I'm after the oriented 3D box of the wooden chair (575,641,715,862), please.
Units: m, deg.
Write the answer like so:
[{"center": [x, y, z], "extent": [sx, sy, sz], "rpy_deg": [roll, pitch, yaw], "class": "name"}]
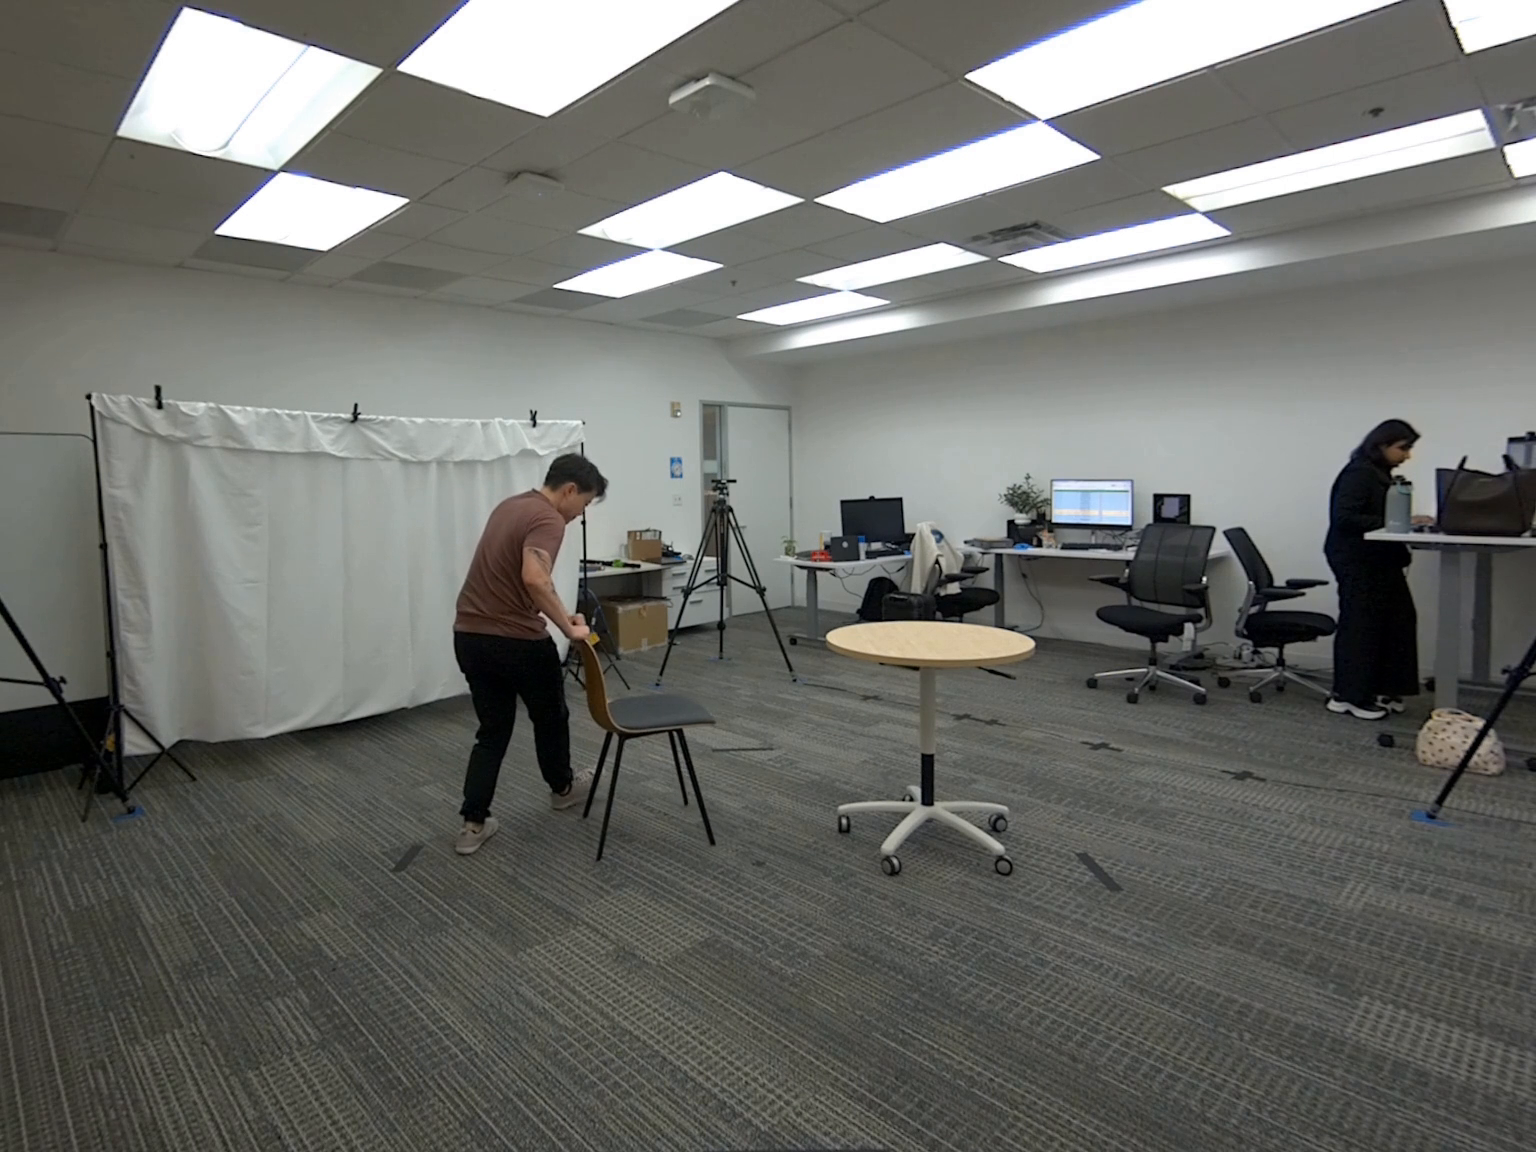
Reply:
[{"center": [-0.487, 0.598, 3.393], "extent": [0.516, 0.874, 0.487], "rpy_deg": [-6, 4, -17], "class": "wooden chair"}]
